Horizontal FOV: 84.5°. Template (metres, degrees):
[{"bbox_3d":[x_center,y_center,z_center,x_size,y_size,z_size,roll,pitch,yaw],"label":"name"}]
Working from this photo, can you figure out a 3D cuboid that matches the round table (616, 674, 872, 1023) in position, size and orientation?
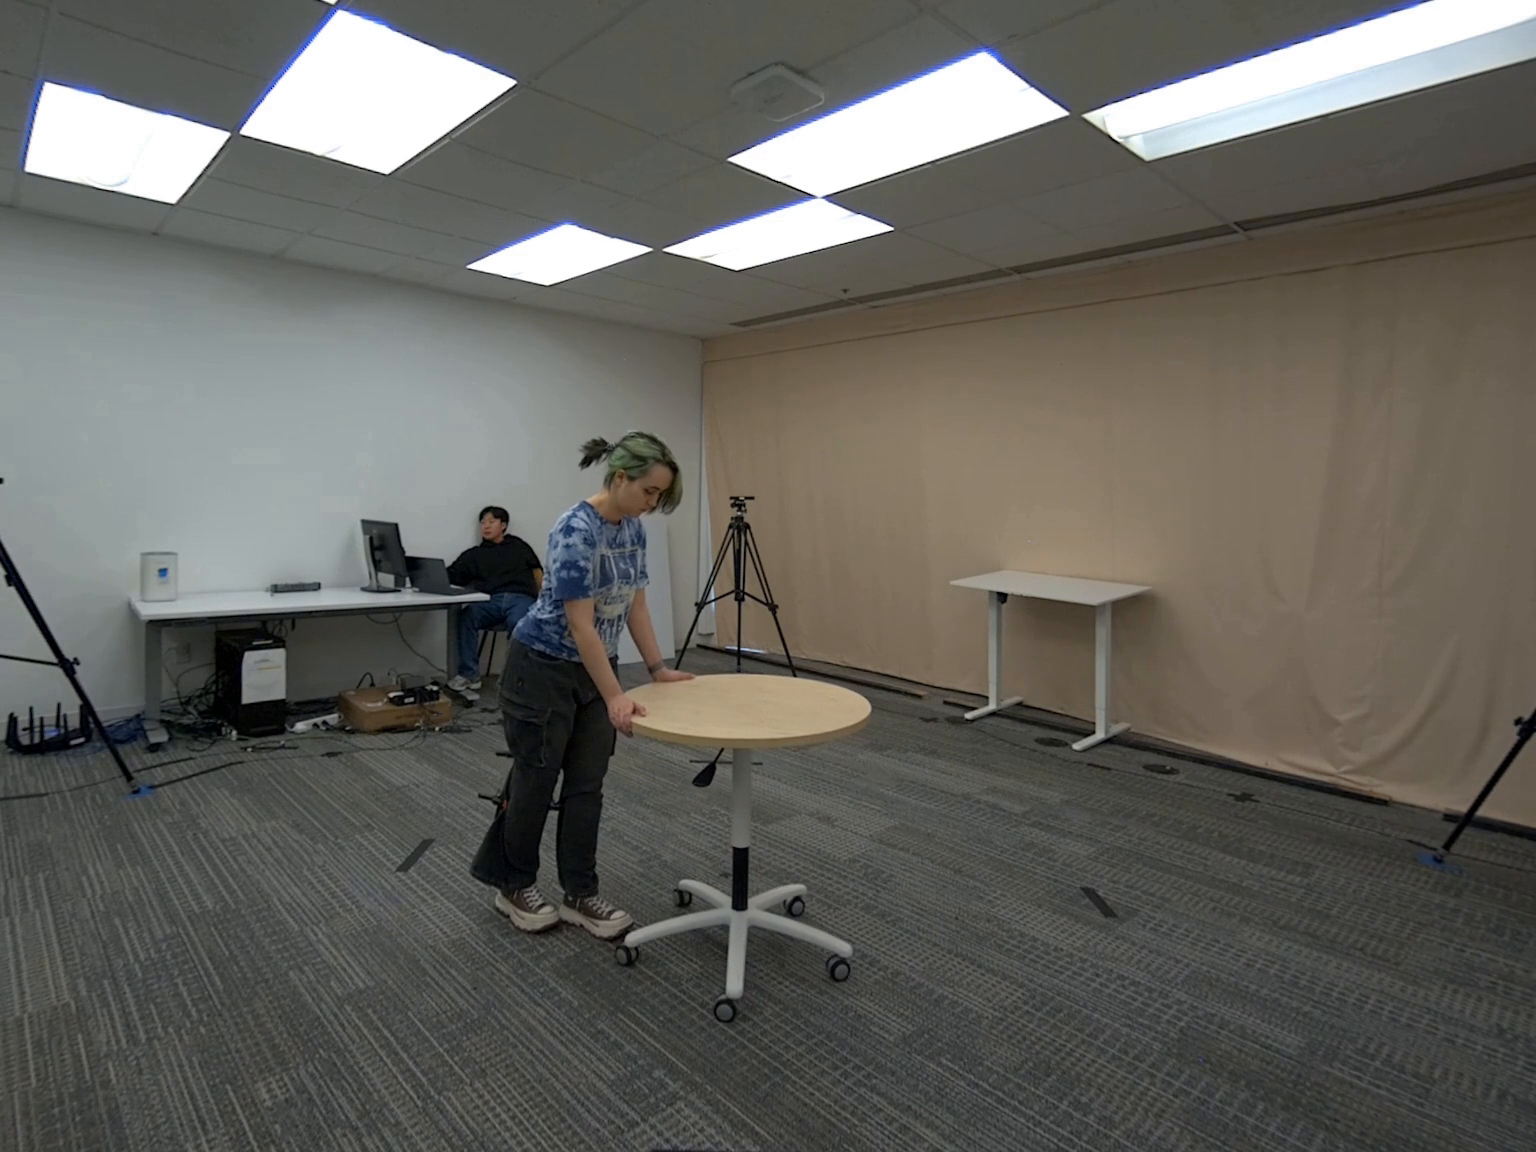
[{"bbox_3d":[-0.088,0.770,2.550,0.763,0.792,0.767,1,4,-1],"label":"round table"}]
